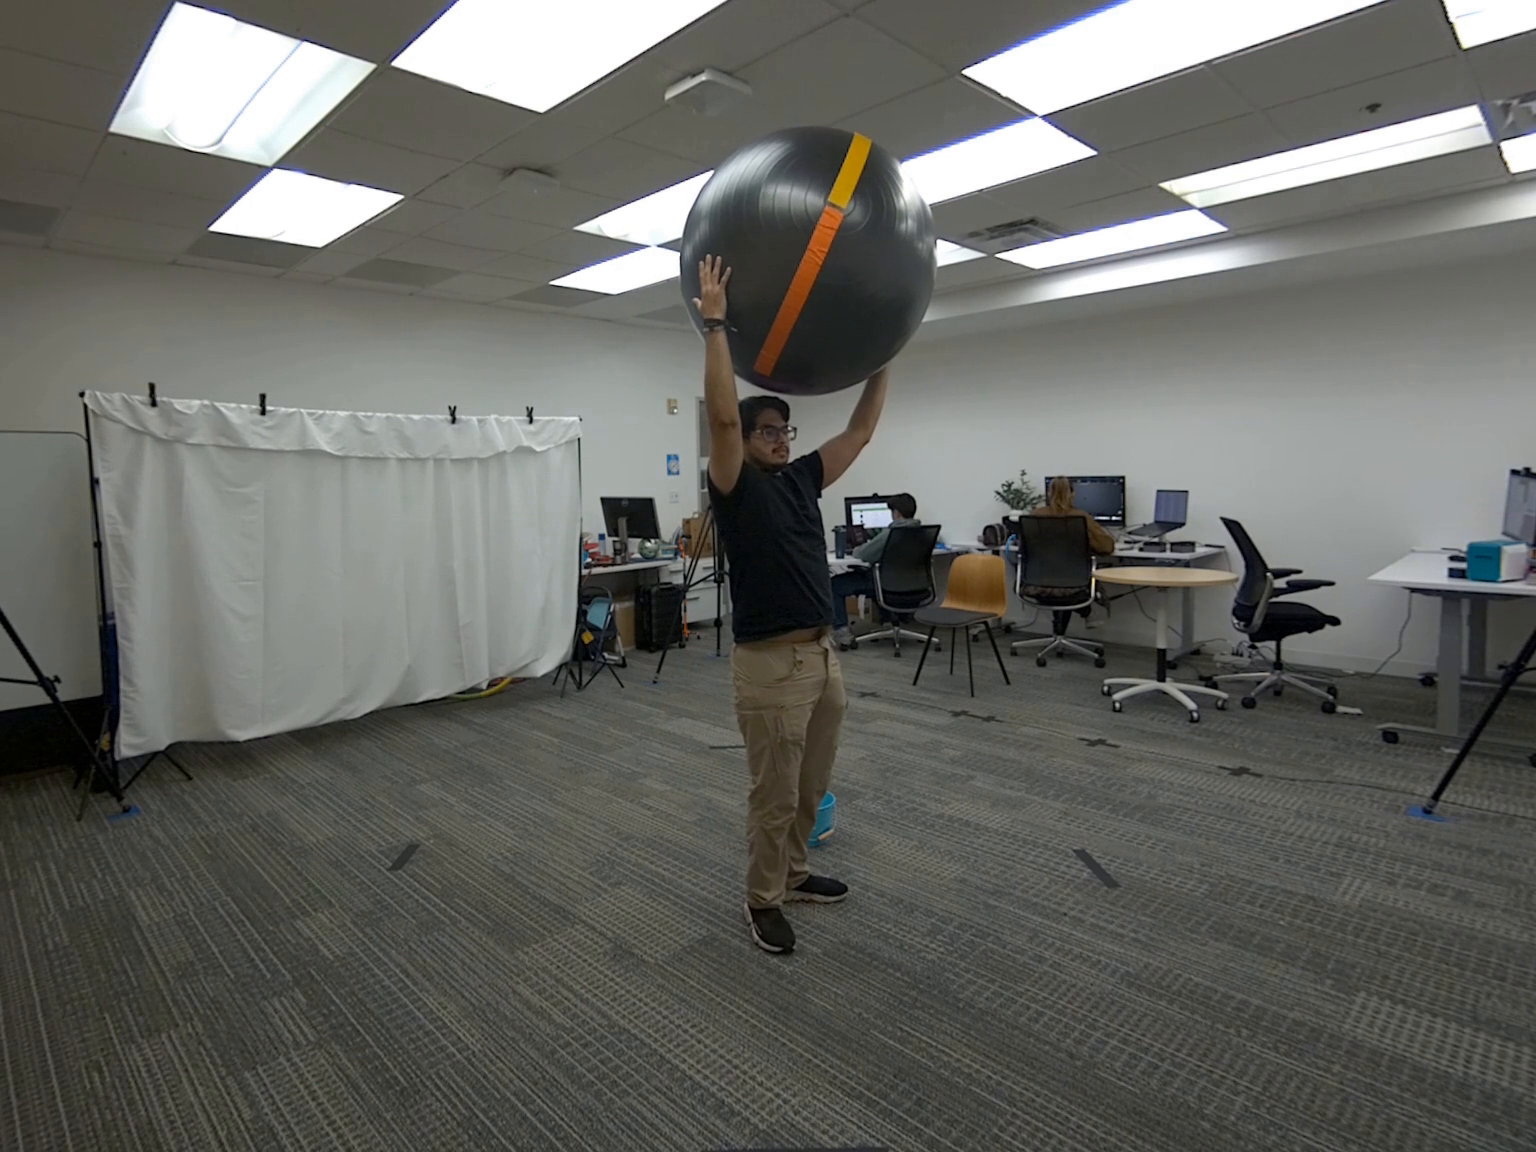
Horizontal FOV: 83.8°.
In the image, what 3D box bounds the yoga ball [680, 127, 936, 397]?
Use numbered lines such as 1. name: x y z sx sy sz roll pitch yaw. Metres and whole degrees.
1. yoga ball: 0.114 -0.915 2.534 0.757 0.755 0.762 -1 5 -2
